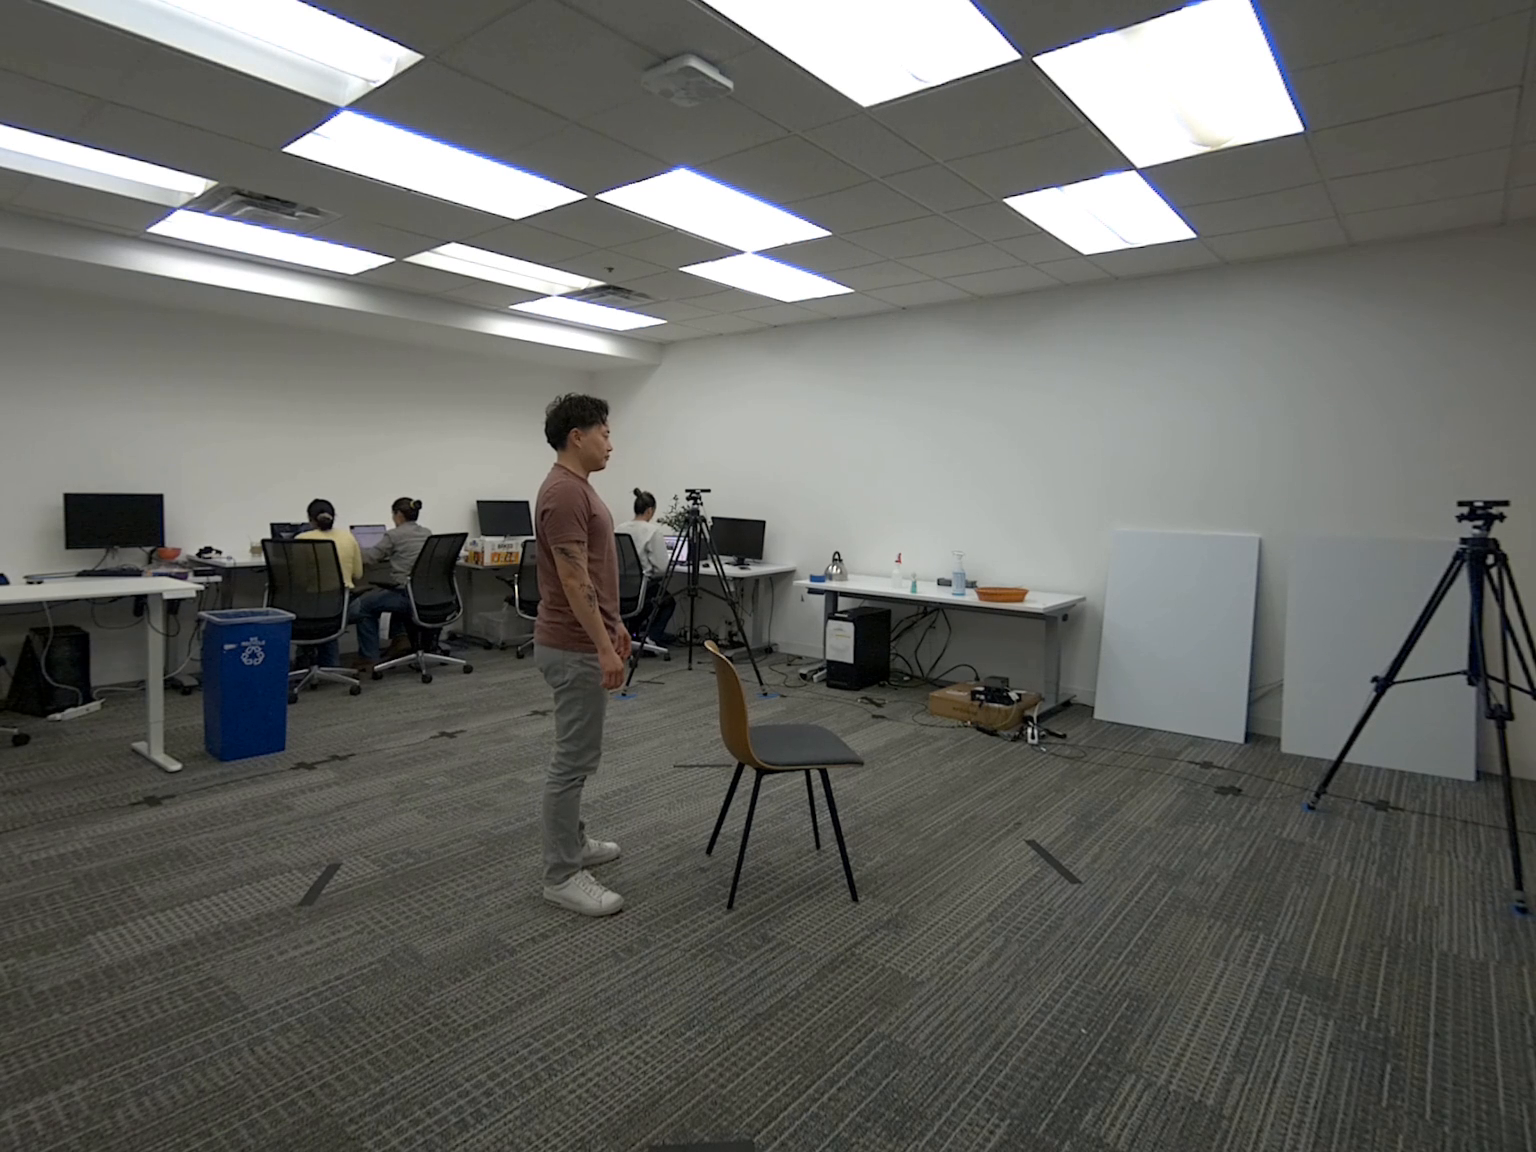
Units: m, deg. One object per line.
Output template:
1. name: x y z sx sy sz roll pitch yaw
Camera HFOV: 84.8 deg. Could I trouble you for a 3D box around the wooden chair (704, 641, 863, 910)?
1. wooden chair: 0.049 0.658 3.046 0.517 0.875 0.485 -4 3 -12
